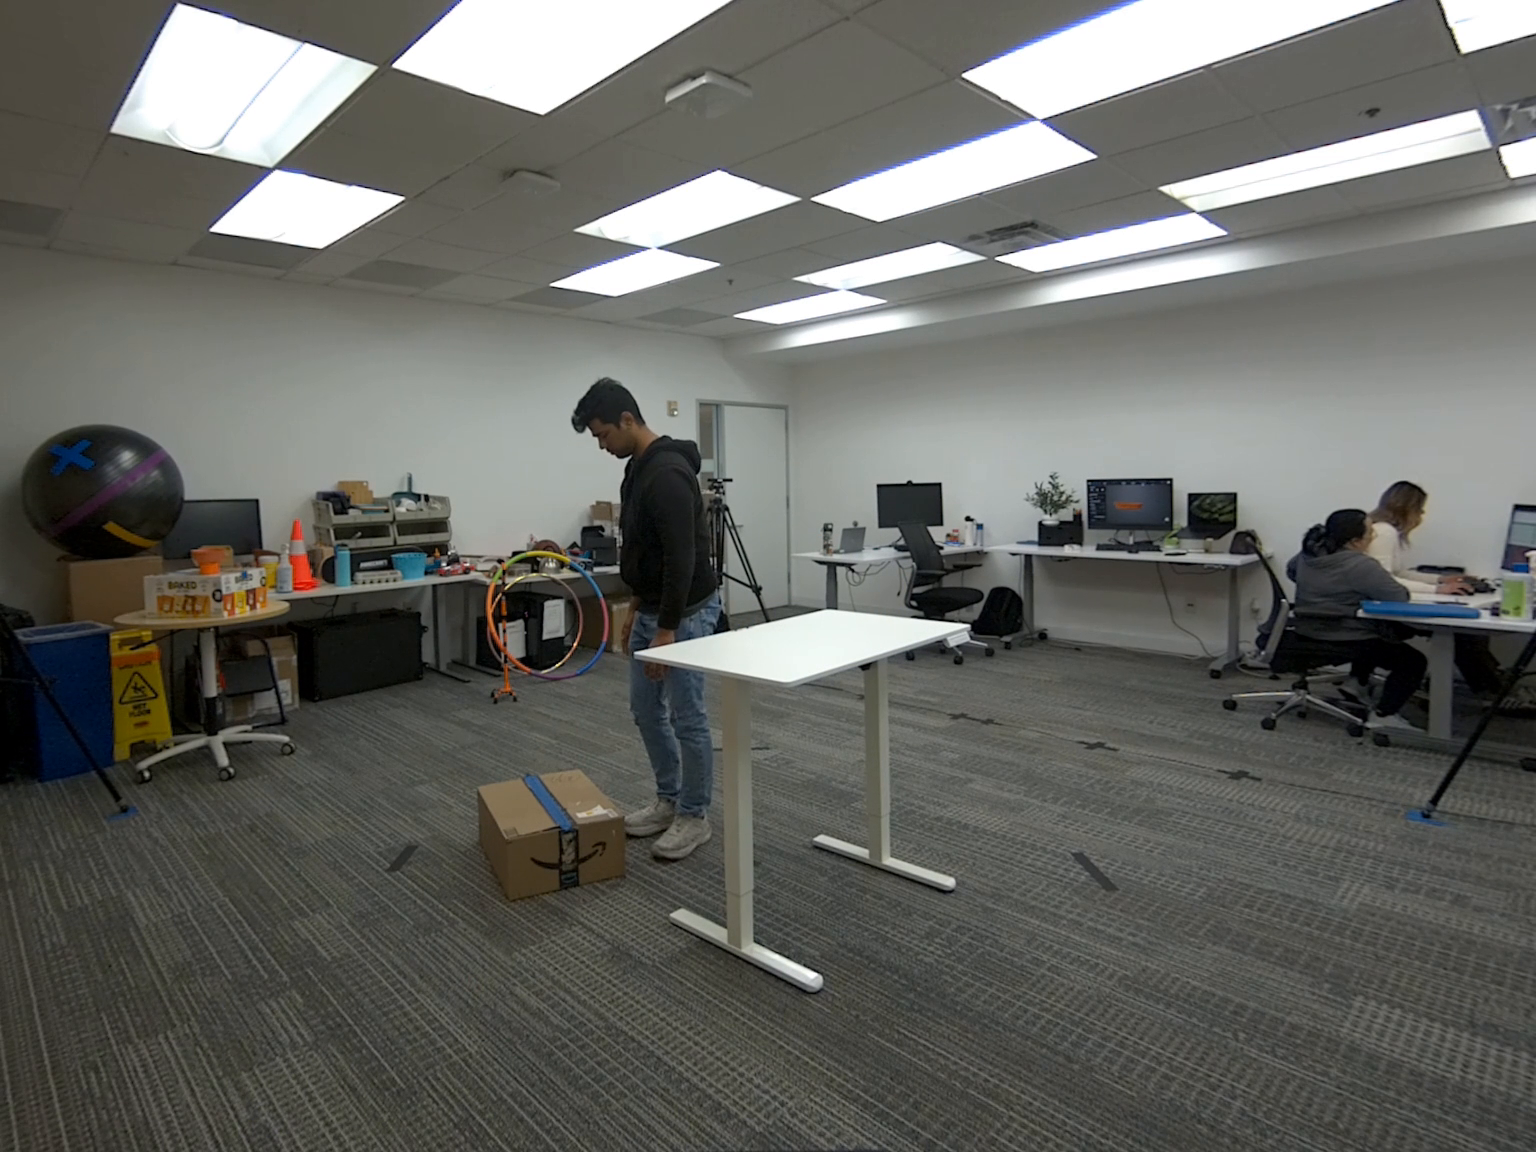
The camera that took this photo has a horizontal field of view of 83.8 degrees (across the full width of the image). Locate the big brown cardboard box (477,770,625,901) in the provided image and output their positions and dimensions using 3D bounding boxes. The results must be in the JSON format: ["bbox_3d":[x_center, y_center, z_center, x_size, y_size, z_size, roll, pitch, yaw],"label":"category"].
[{"bbox_3d":[-0.816,0.941,3.178,0.408,0.232,0.604,-5,6,-28],"label":"big brown cardboard box"}]
